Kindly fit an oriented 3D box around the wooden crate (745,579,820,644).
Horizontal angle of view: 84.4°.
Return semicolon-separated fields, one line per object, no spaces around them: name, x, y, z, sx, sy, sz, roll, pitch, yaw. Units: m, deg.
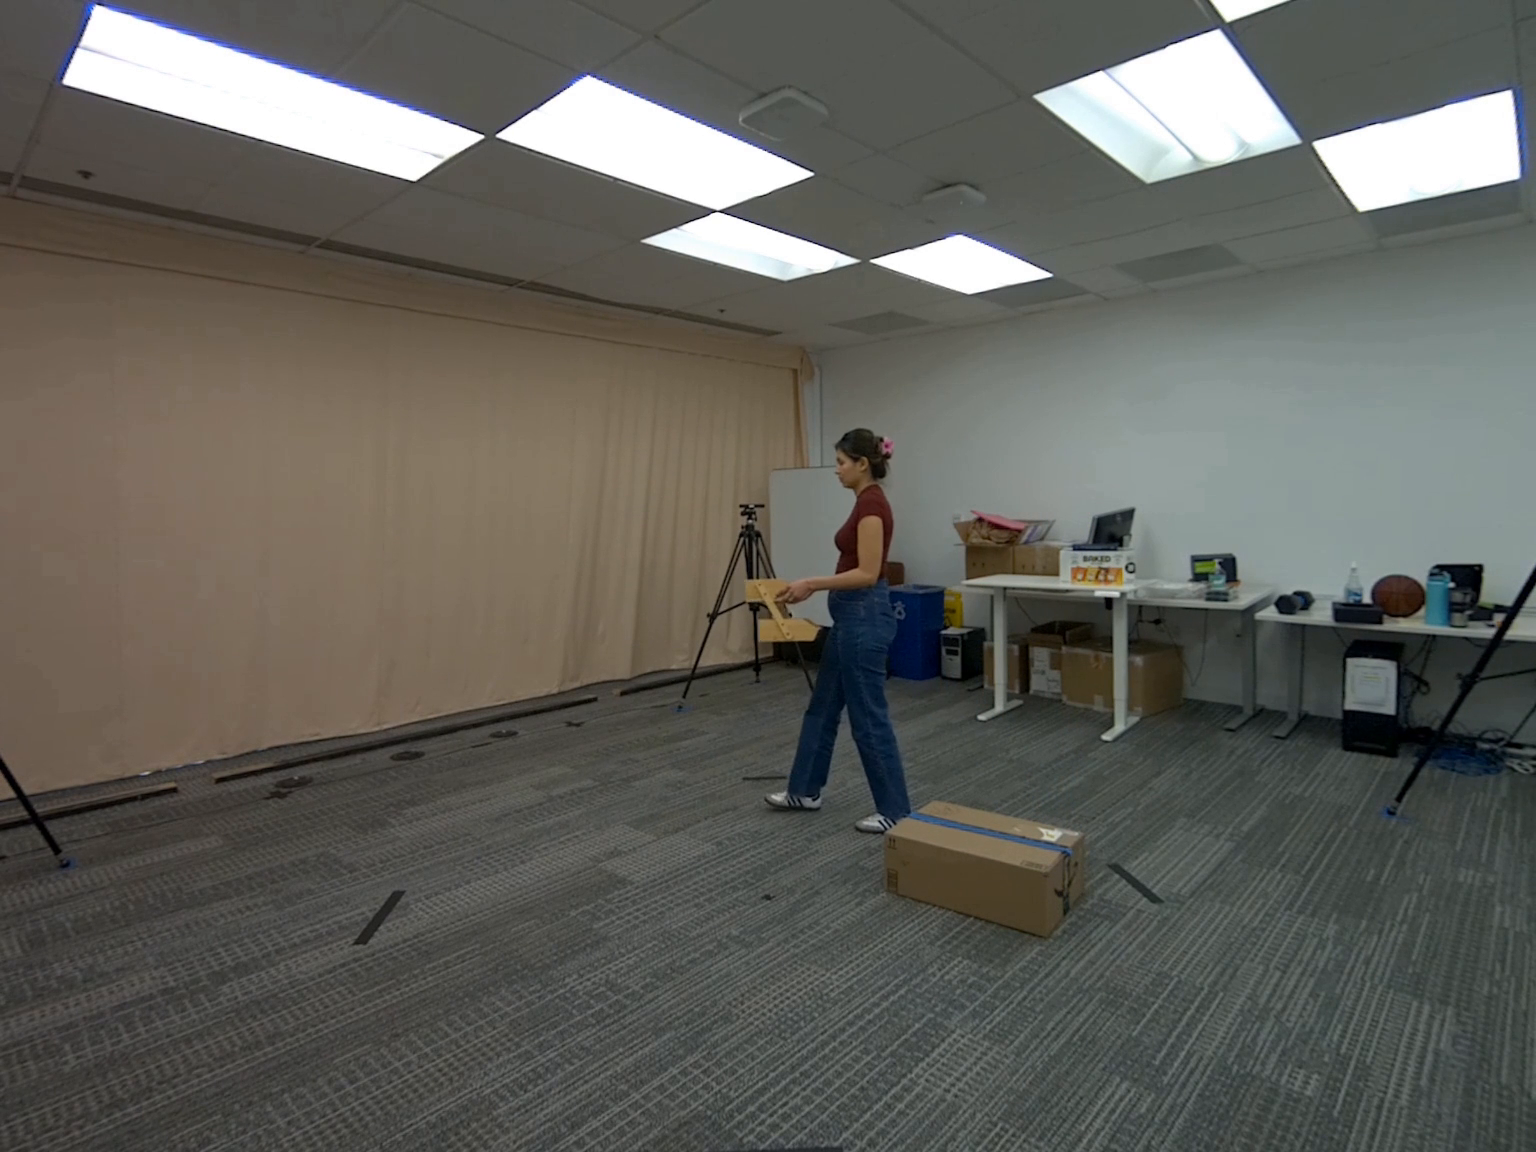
wooden crate;0.081;0.144;3.681;0.305;0.274;0.320;-2;-3;9
